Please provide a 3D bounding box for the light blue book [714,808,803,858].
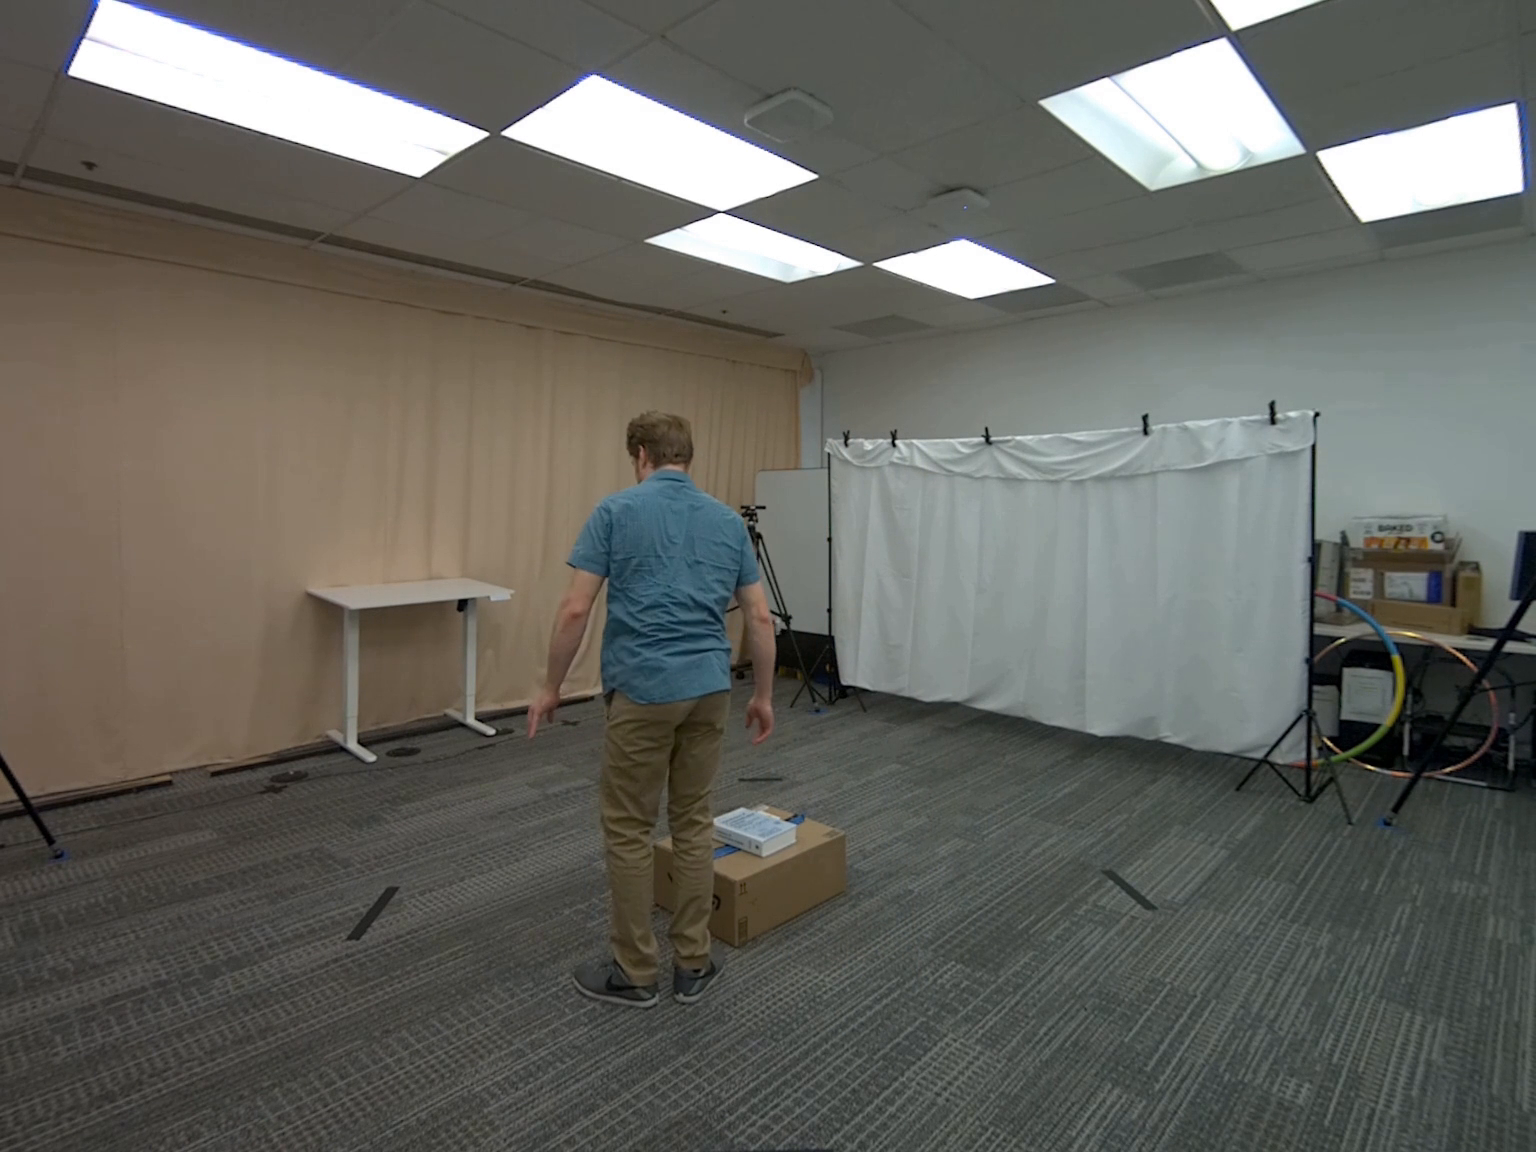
[{"bbox_3d":[-0.053,0.900,2.986,0.270,0.059,0.185,4,6,42],"label":"light blue book"}]
